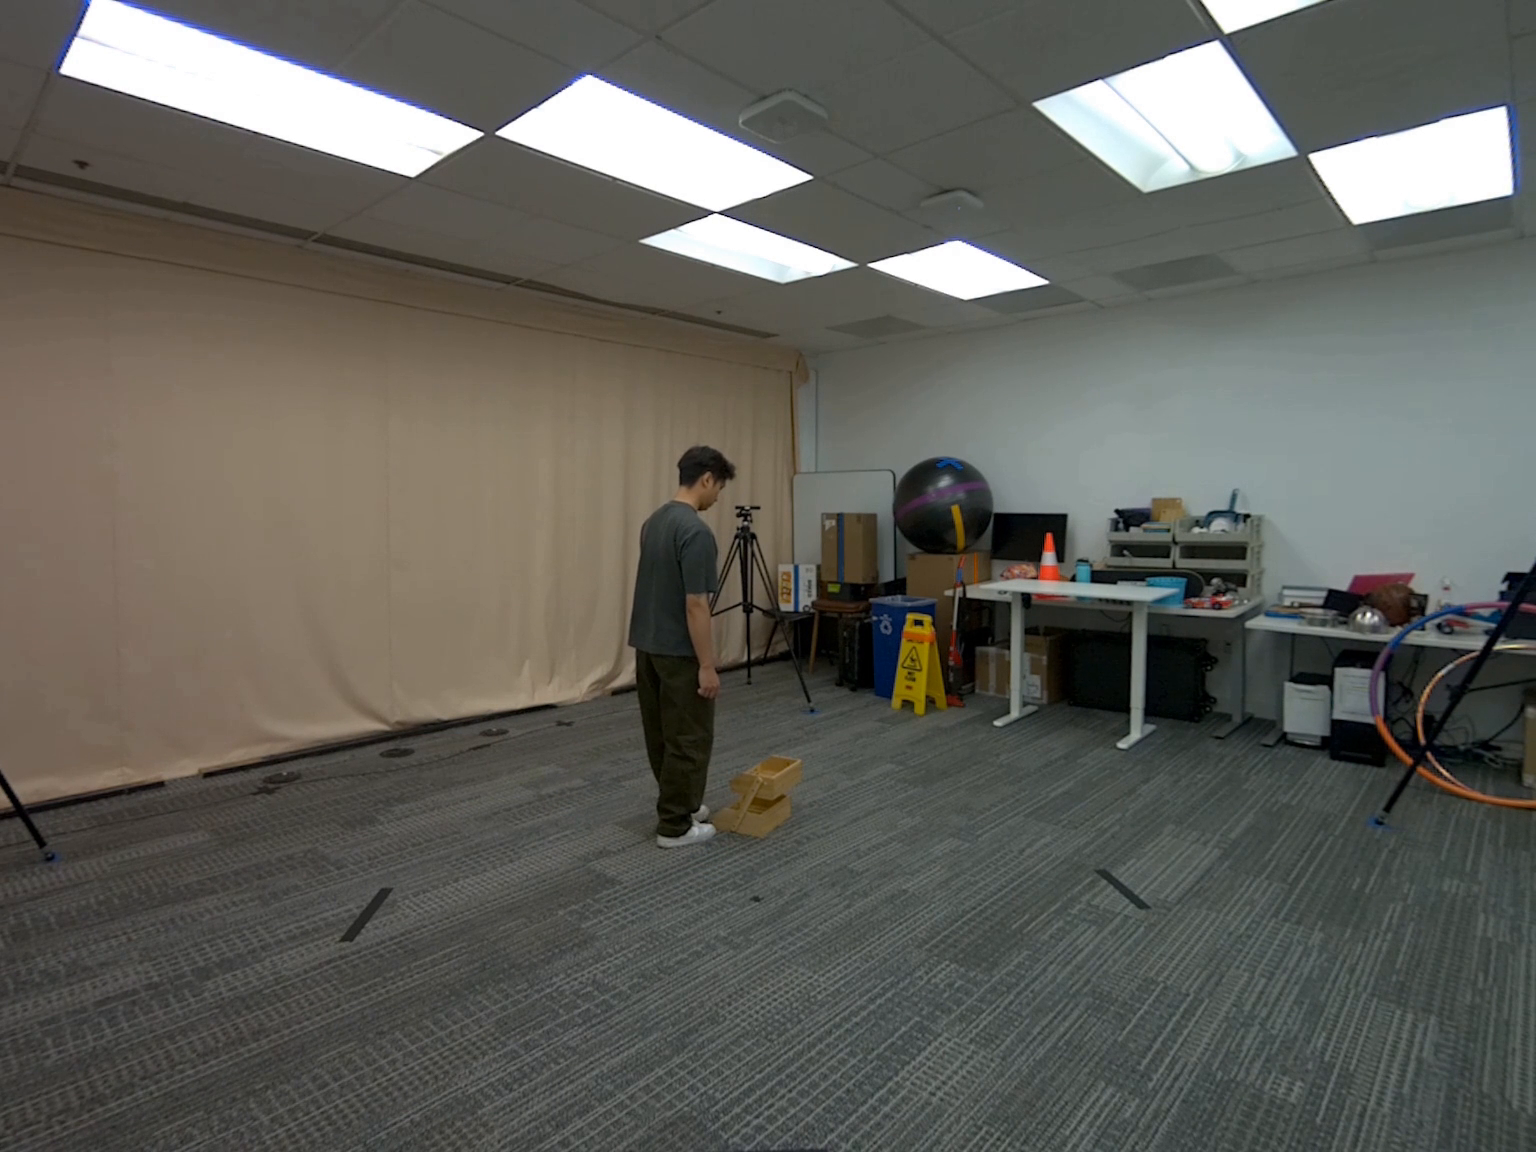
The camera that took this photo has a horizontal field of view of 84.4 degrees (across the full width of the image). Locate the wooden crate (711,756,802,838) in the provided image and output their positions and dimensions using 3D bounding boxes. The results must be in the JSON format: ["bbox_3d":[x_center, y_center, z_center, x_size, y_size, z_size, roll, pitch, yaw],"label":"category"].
[{"bbox_3d":[-0.051,0.953,3.702,0.310,0.273,0.316,2,4,28],"label":"wooden crate"}]
